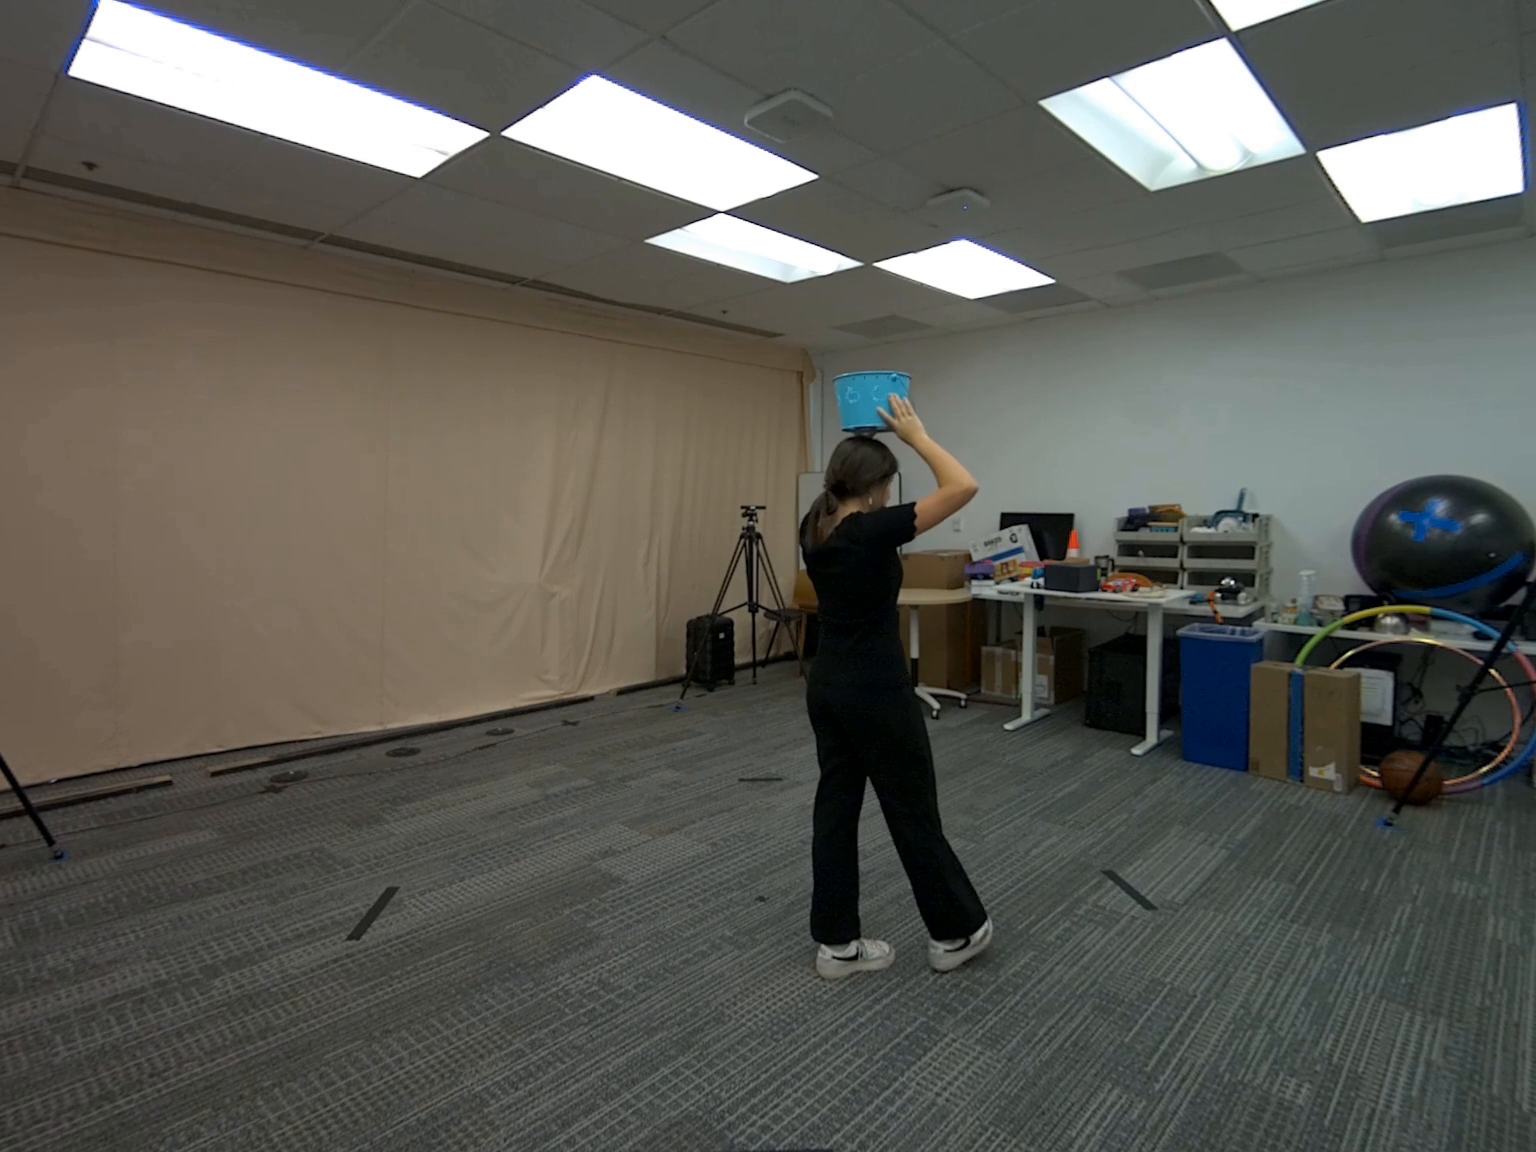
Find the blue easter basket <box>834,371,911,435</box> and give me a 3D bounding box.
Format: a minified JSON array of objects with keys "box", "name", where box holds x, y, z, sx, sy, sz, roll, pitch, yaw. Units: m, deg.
[{"box":[0.327,-0.517,2.507,0.243,0.155,0.244,-1,4,-2],"name":"blue easter basket"}]
